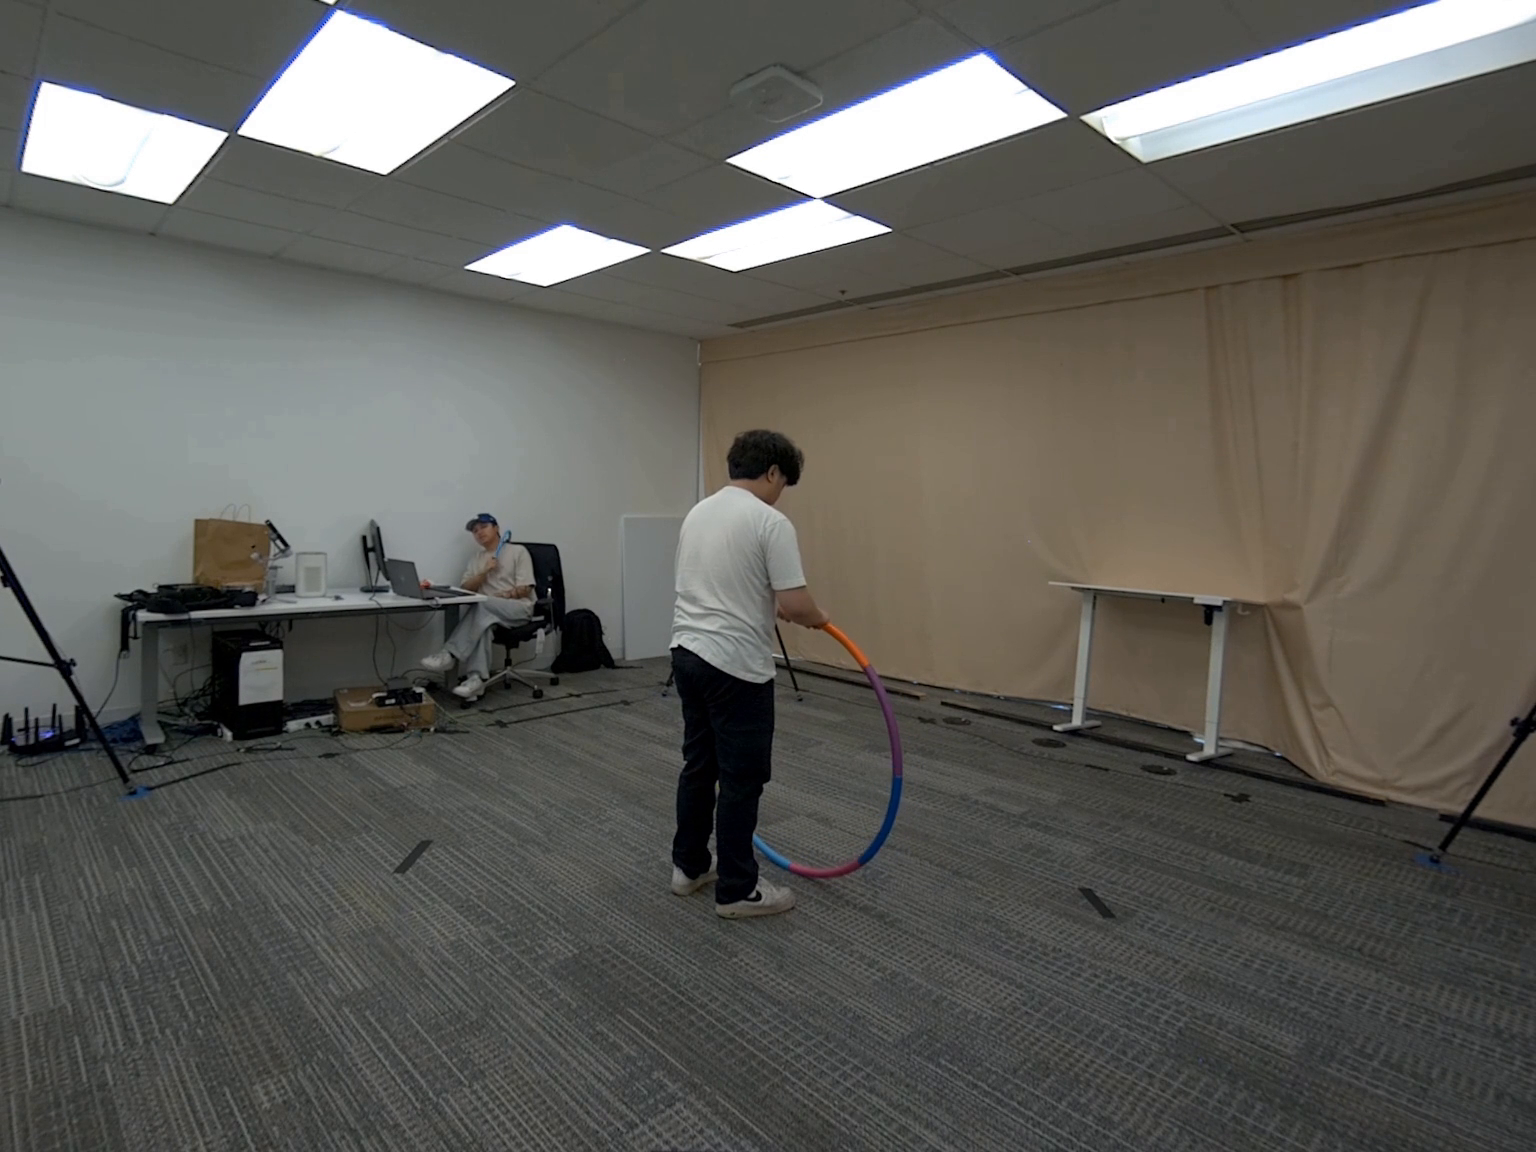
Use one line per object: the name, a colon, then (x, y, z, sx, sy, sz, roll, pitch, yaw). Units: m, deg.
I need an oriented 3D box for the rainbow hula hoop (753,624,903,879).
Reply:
rainbow hula hoop: (0.084, 0.616, 3.134, 0.050, 0.982, 1.011, -3, 6, -44)
